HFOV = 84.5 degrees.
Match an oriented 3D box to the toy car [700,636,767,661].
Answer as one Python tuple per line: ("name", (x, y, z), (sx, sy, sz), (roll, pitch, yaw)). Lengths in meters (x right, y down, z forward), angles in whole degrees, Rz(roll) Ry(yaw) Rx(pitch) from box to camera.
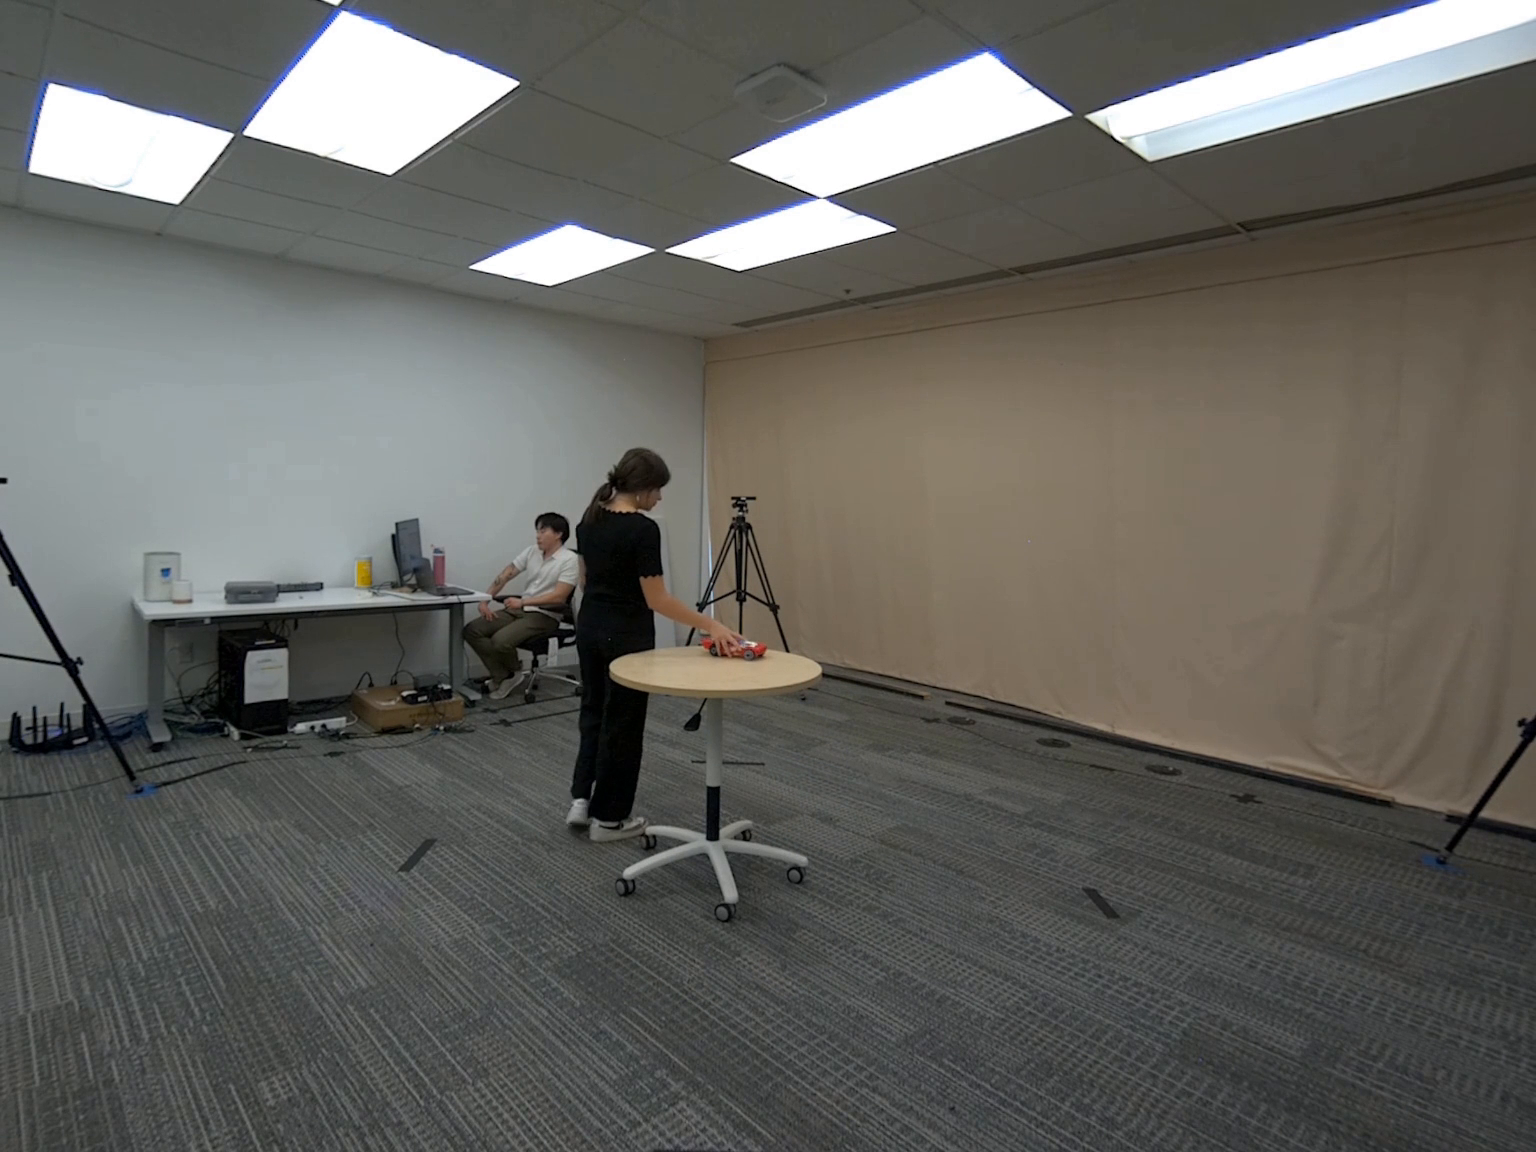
("toy car", (-0.150, 0.275, 3.238), (0.260, 0.083, 0.128), (16, 11, 23))
